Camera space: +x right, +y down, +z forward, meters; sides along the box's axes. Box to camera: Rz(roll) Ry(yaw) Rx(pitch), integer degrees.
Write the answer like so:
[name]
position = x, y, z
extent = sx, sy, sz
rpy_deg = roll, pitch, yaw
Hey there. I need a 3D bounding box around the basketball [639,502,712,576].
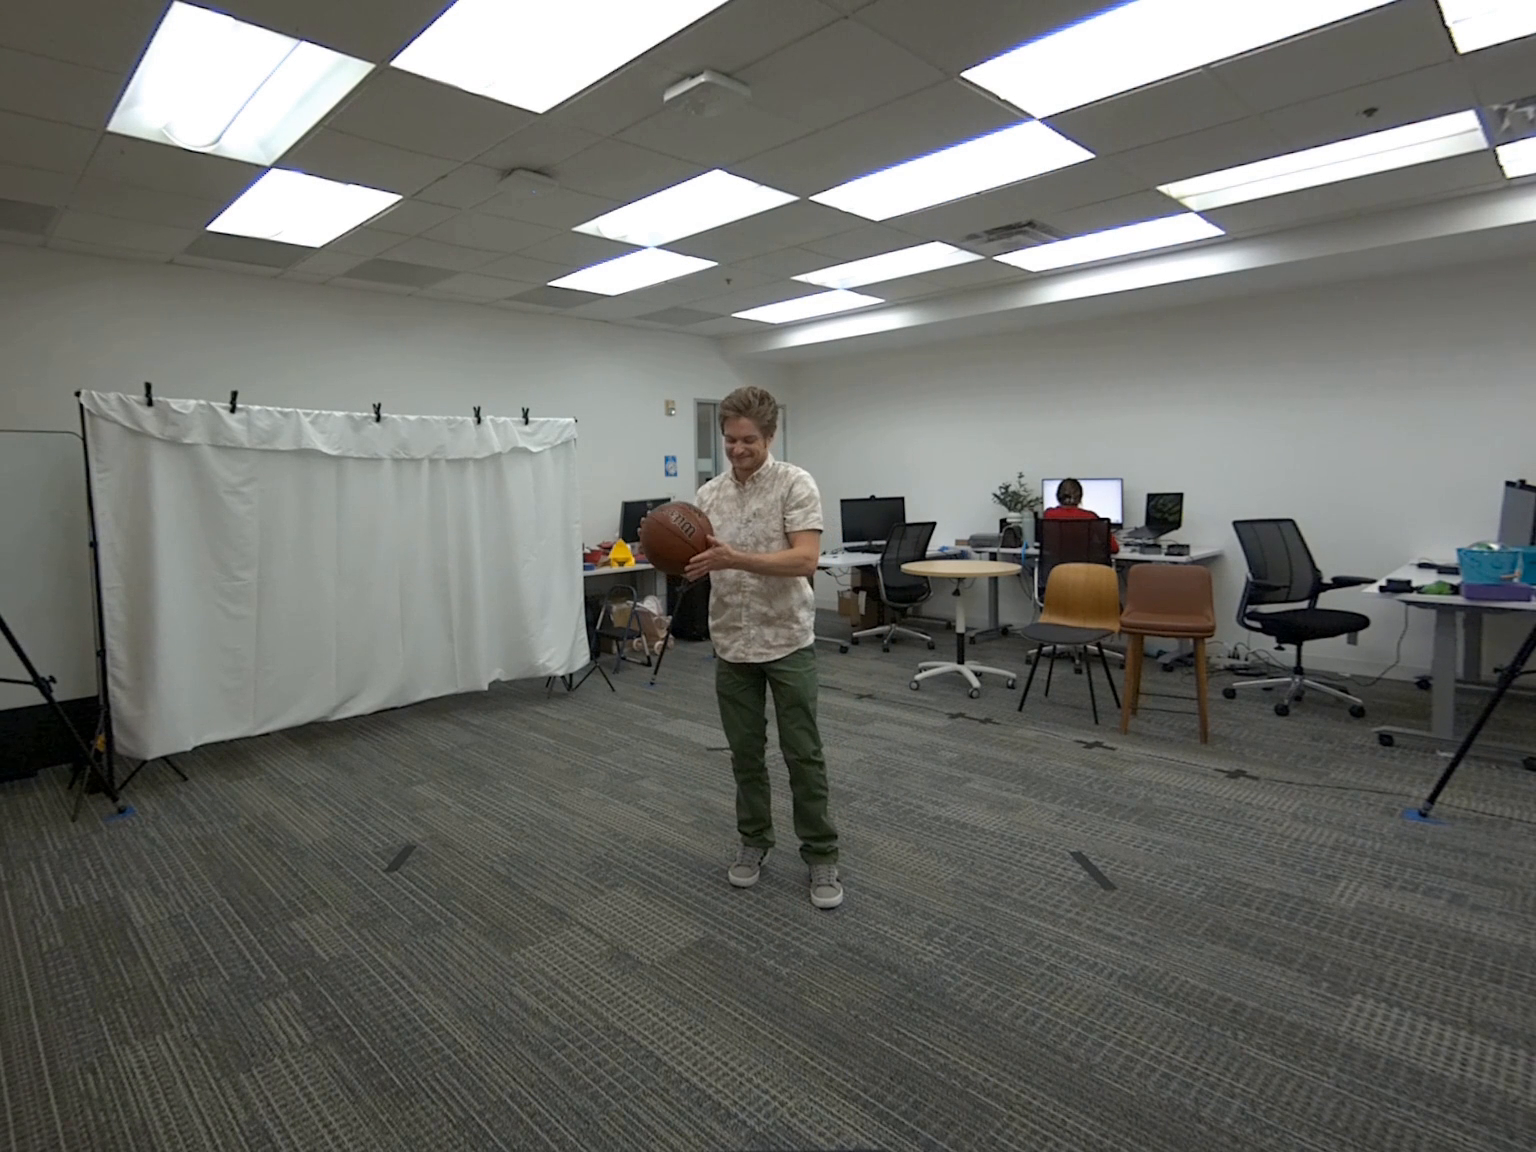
[basketball]
position = -0.292, -0.119, 2.771
extent = 0.236, 0.235, 0.237
rpy_deg = -1, 5, -2
